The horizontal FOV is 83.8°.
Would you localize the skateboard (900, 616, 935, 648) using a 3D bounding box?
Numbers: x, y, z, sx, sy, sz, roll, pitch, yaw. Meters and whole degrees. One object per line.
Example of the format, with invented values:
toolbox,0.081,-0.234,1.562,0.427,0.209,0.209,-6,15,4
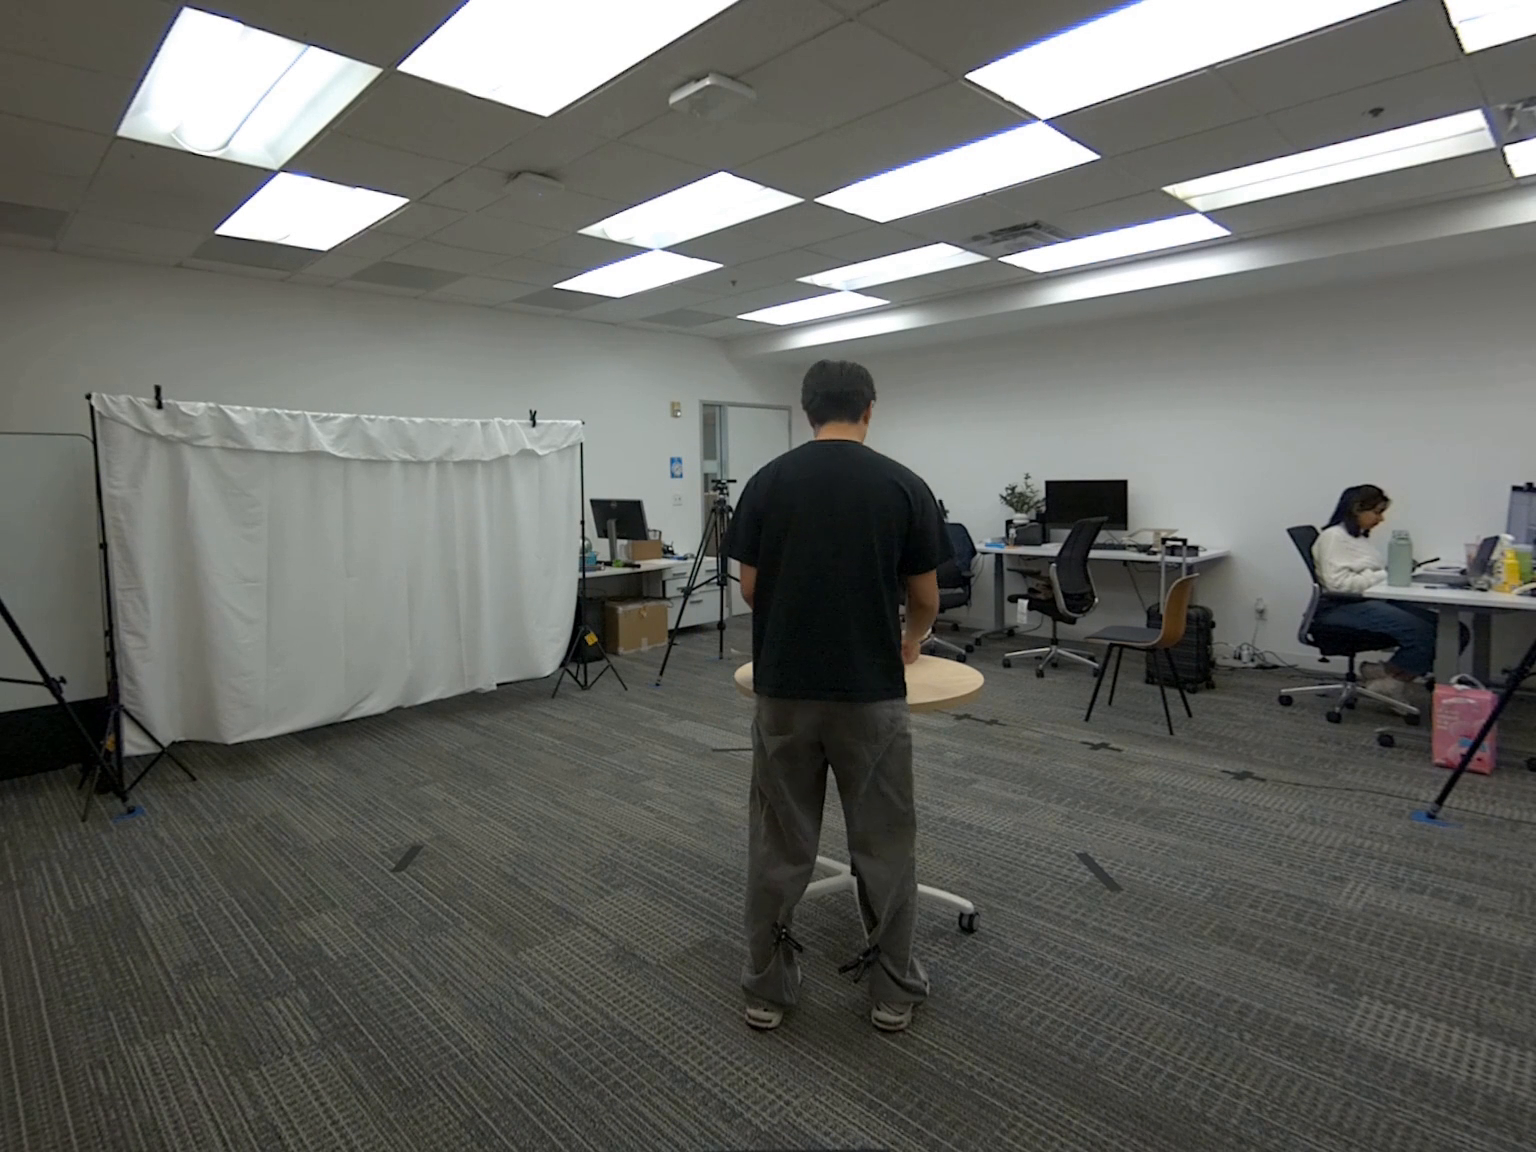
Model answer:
skateboard,0.209,0.252,2.740,0.766,0.110,0.199,-6,7,-35
